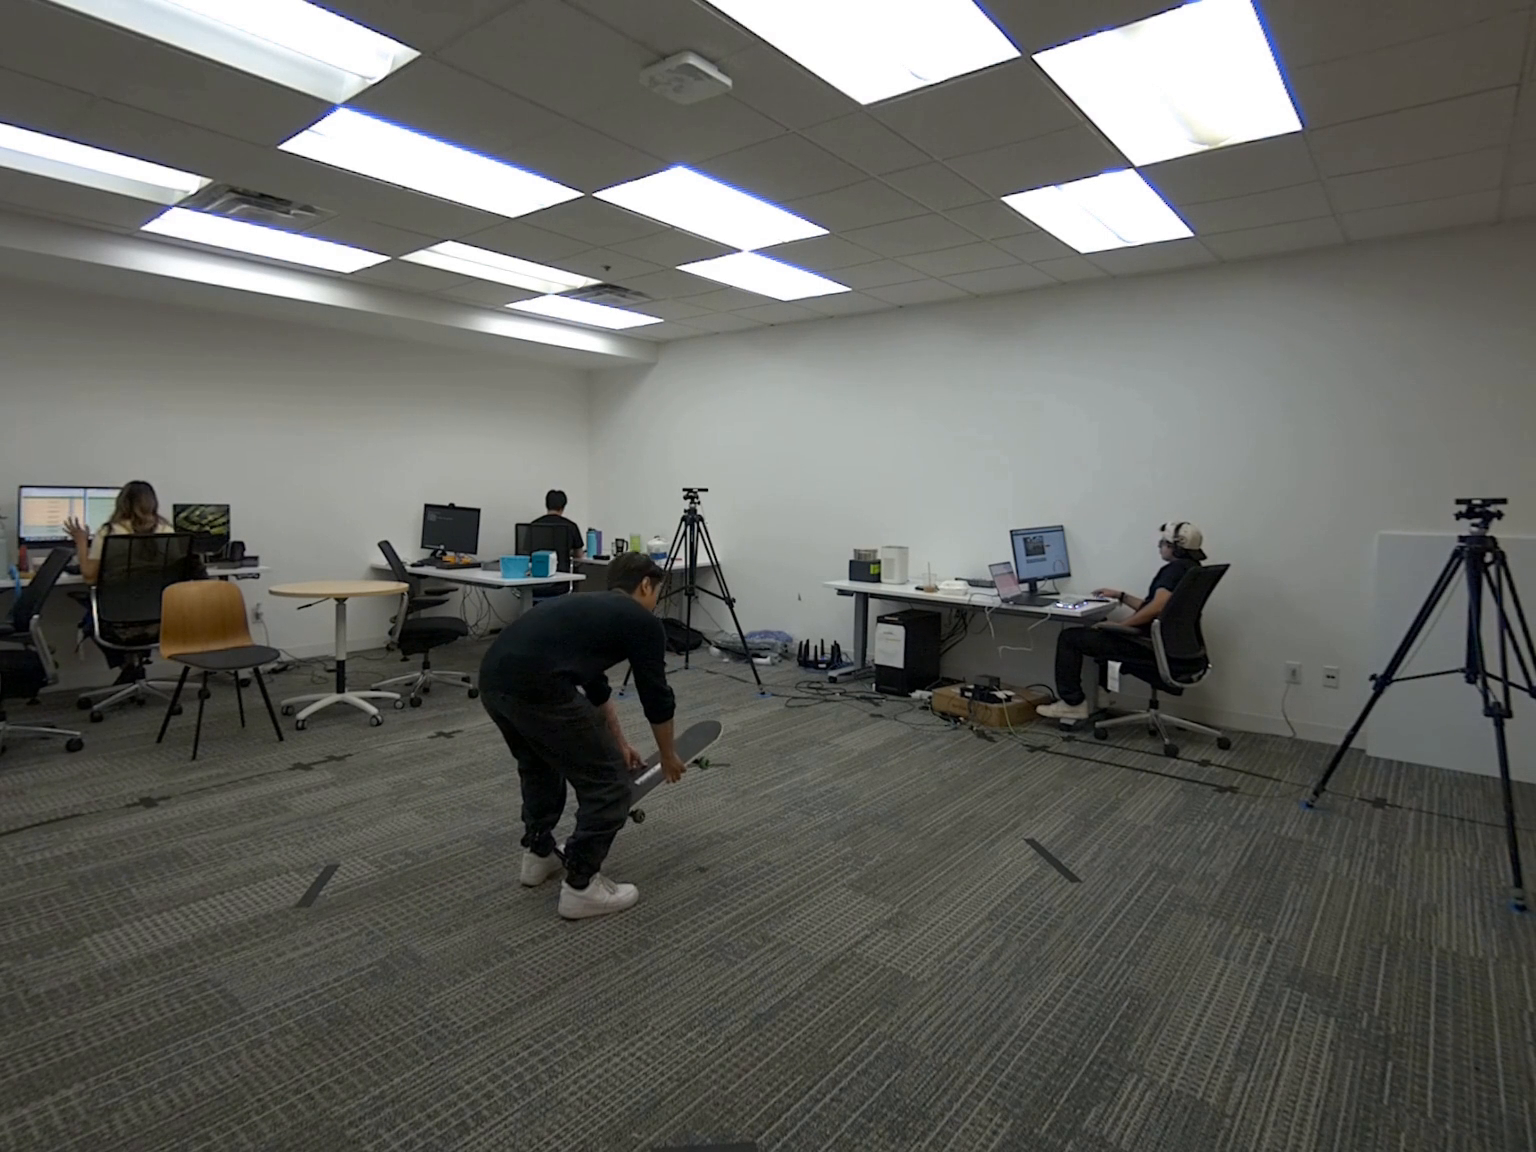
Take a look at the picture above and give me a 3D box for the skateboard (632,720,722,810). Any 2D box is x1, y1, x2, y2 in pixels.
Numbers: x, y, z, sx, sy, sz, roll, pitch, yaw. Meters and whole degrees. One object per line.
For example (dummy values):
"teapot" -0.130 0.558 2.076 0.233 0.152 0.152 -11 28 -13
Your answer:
"skateboard" -0.443 0.776 3.254 0.199 0.108 0.774 -1 19 36
